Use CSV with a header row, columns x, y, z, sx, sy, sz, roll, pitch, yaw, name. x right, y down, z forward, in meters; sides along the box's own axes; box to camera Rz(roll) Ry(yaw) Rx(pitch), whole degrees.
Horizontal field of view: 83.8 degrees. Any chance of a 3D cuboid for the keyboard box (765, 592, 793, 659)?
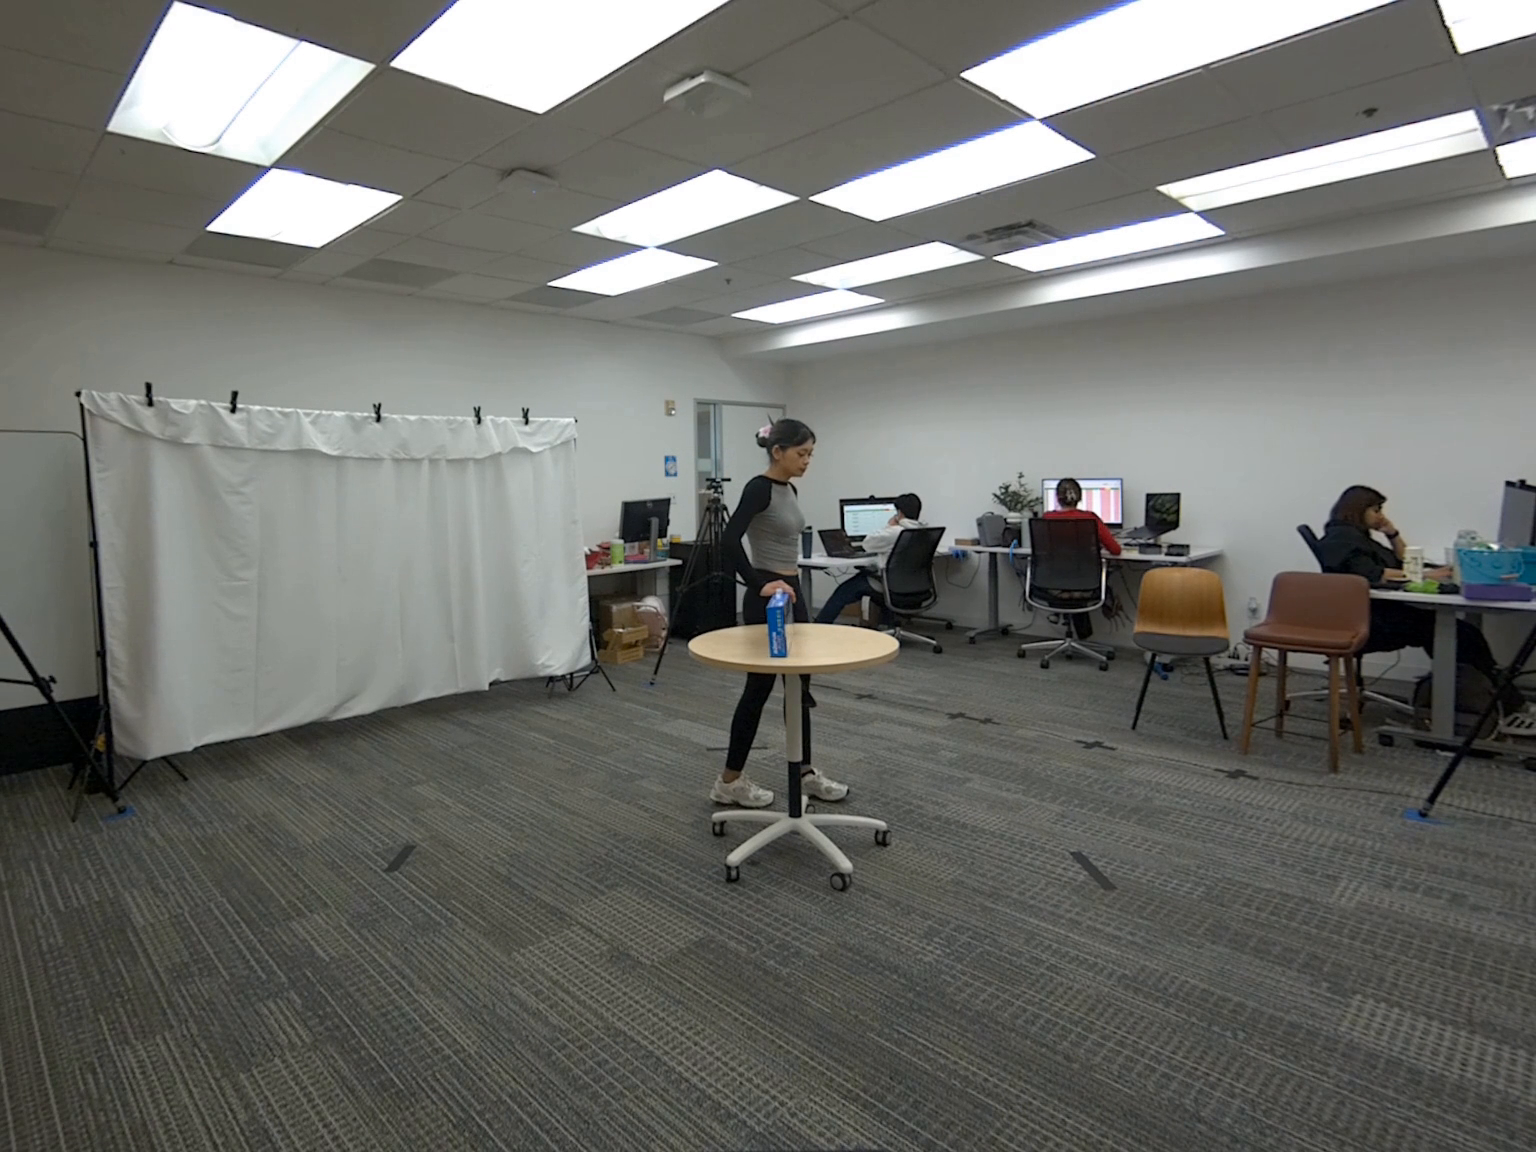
x,y,z,sx,sy,sz,roll,pitch,yaw,name
0.043,0.160,3.084,0.059,0.175,0.437,-5,7,5,keyboard box
